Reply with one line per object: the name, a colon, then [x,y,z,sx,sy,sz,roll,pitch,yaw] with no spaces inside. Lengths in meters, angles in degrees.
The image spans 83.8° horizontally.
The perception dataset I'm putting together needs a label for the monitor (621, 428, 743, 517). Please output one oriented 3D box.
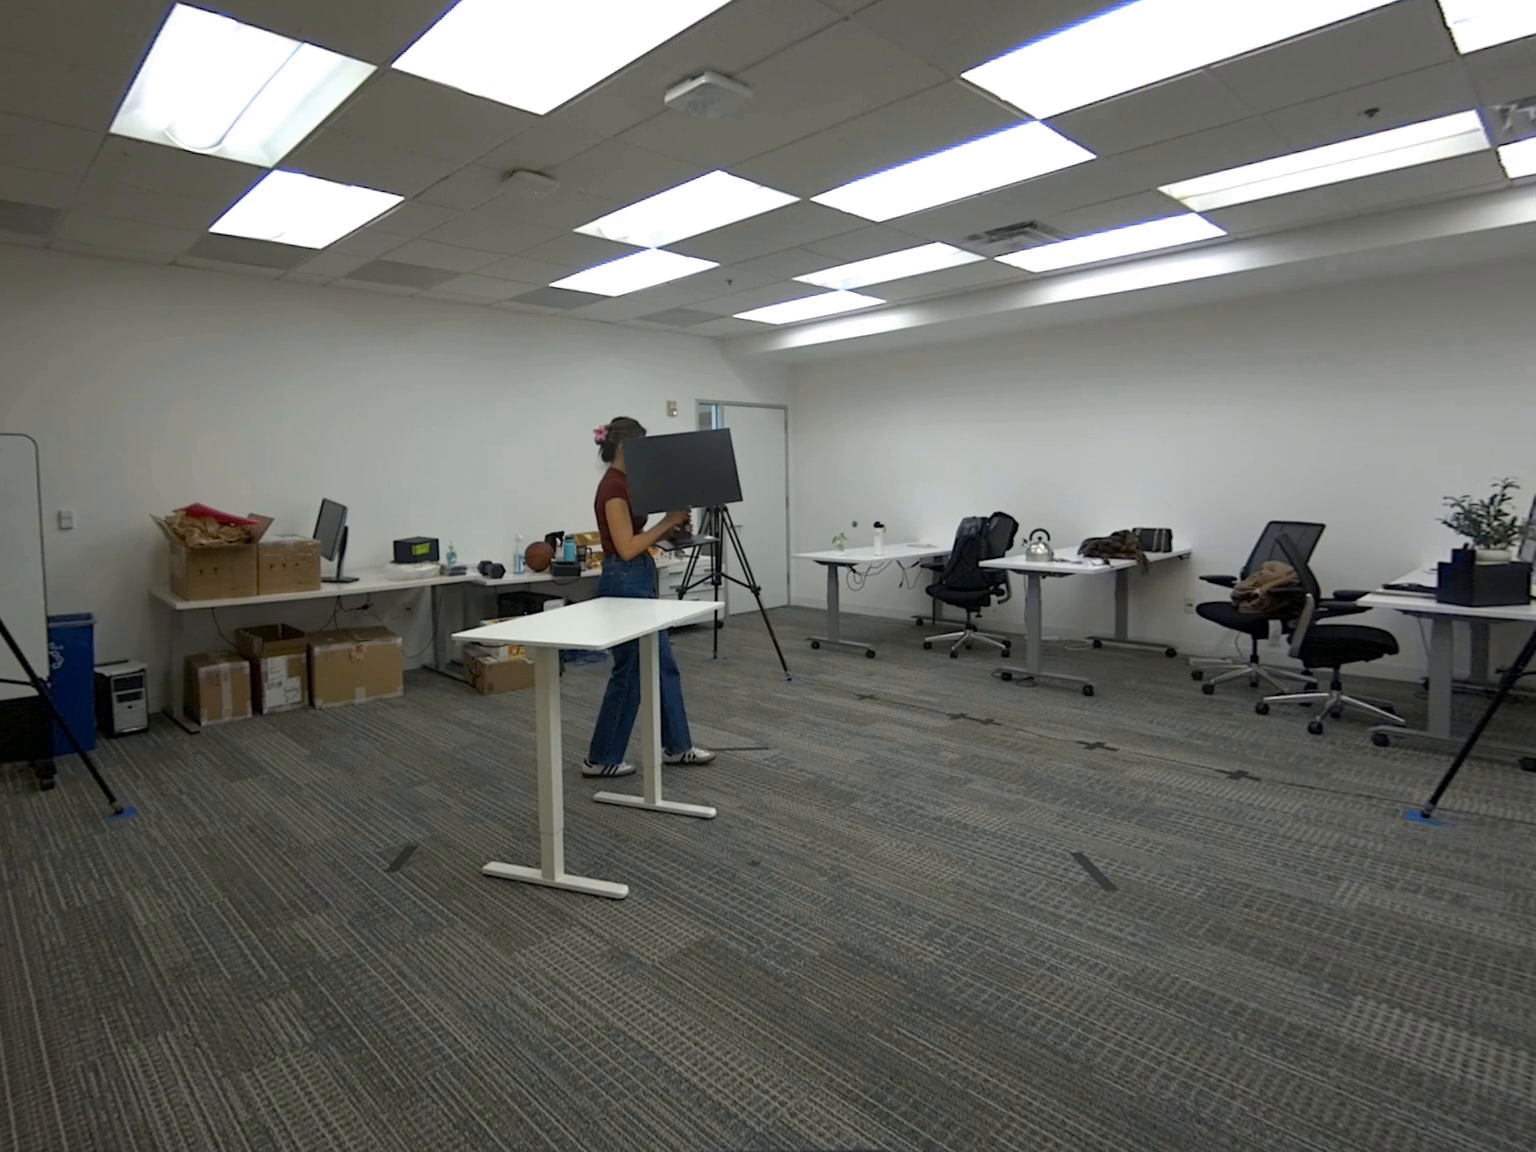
monitor: [-0.395,-0.400,3.941,0.529,0.518,0.192,-9,9,-23]
